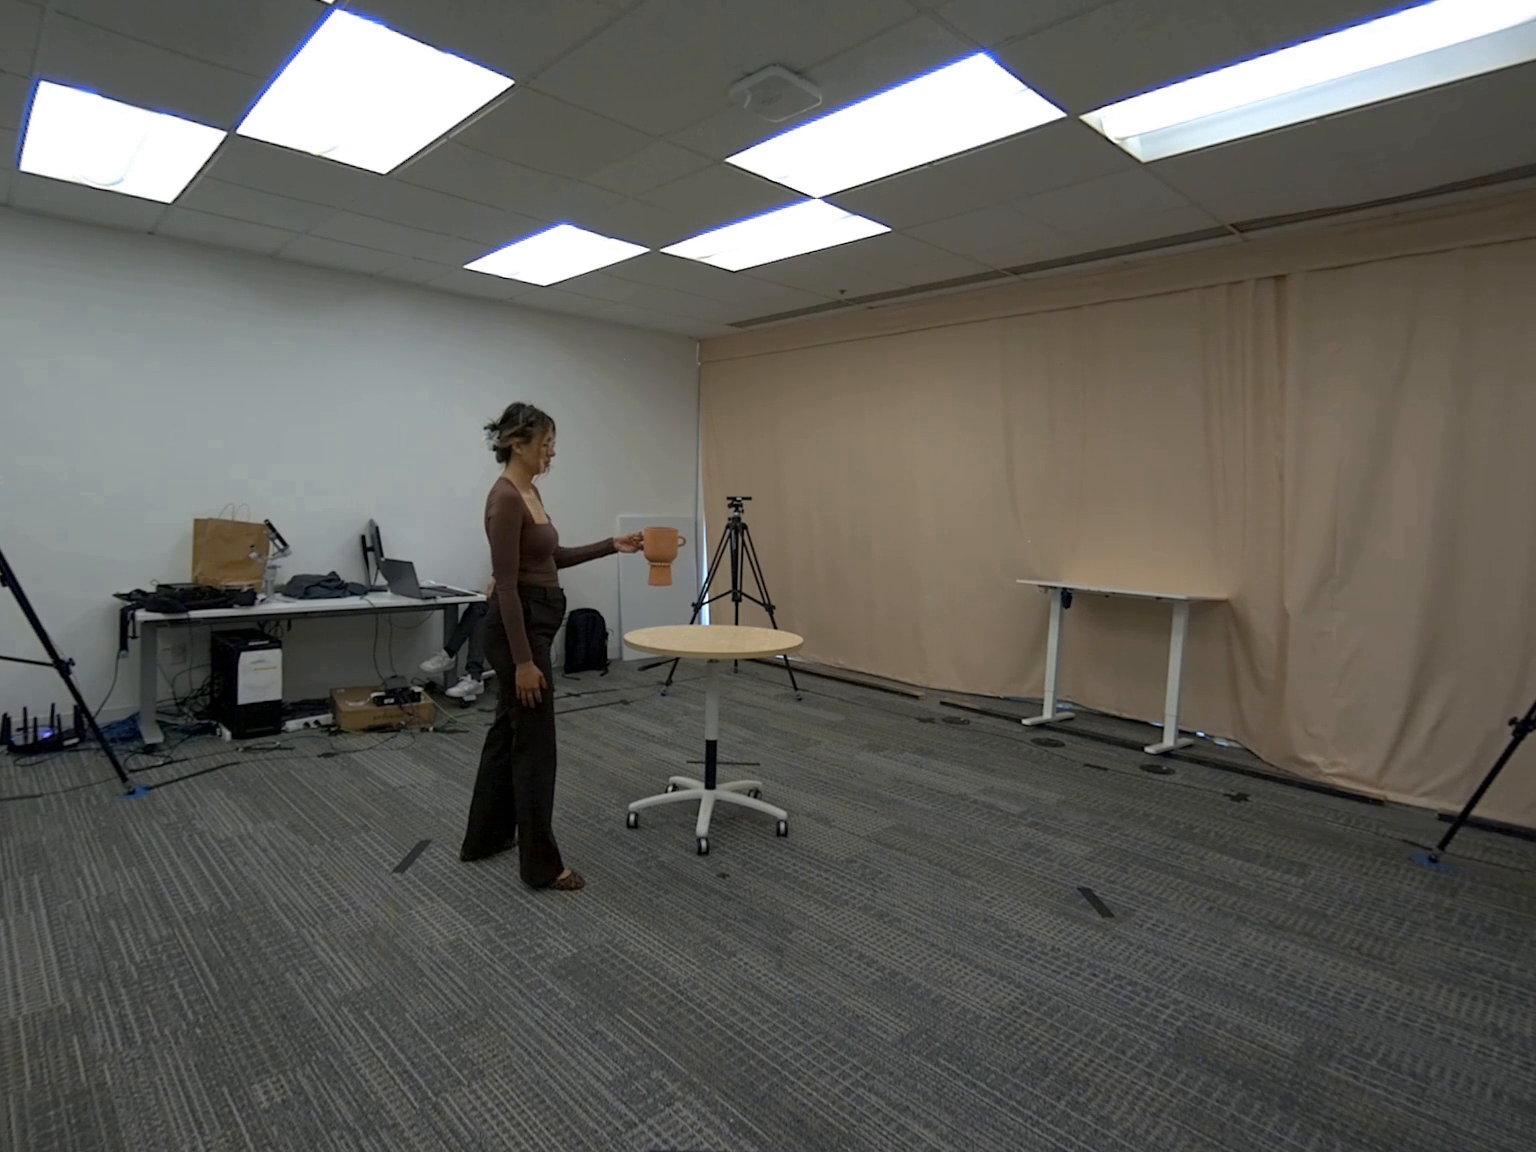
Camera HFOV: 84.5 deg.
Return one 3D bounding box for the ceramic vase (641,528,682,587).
[{"bbox_3d":[-0.435,-0.077,3.260,0.163,0.219,0.132,8,8,43],"label":"ceramic vase"}]
